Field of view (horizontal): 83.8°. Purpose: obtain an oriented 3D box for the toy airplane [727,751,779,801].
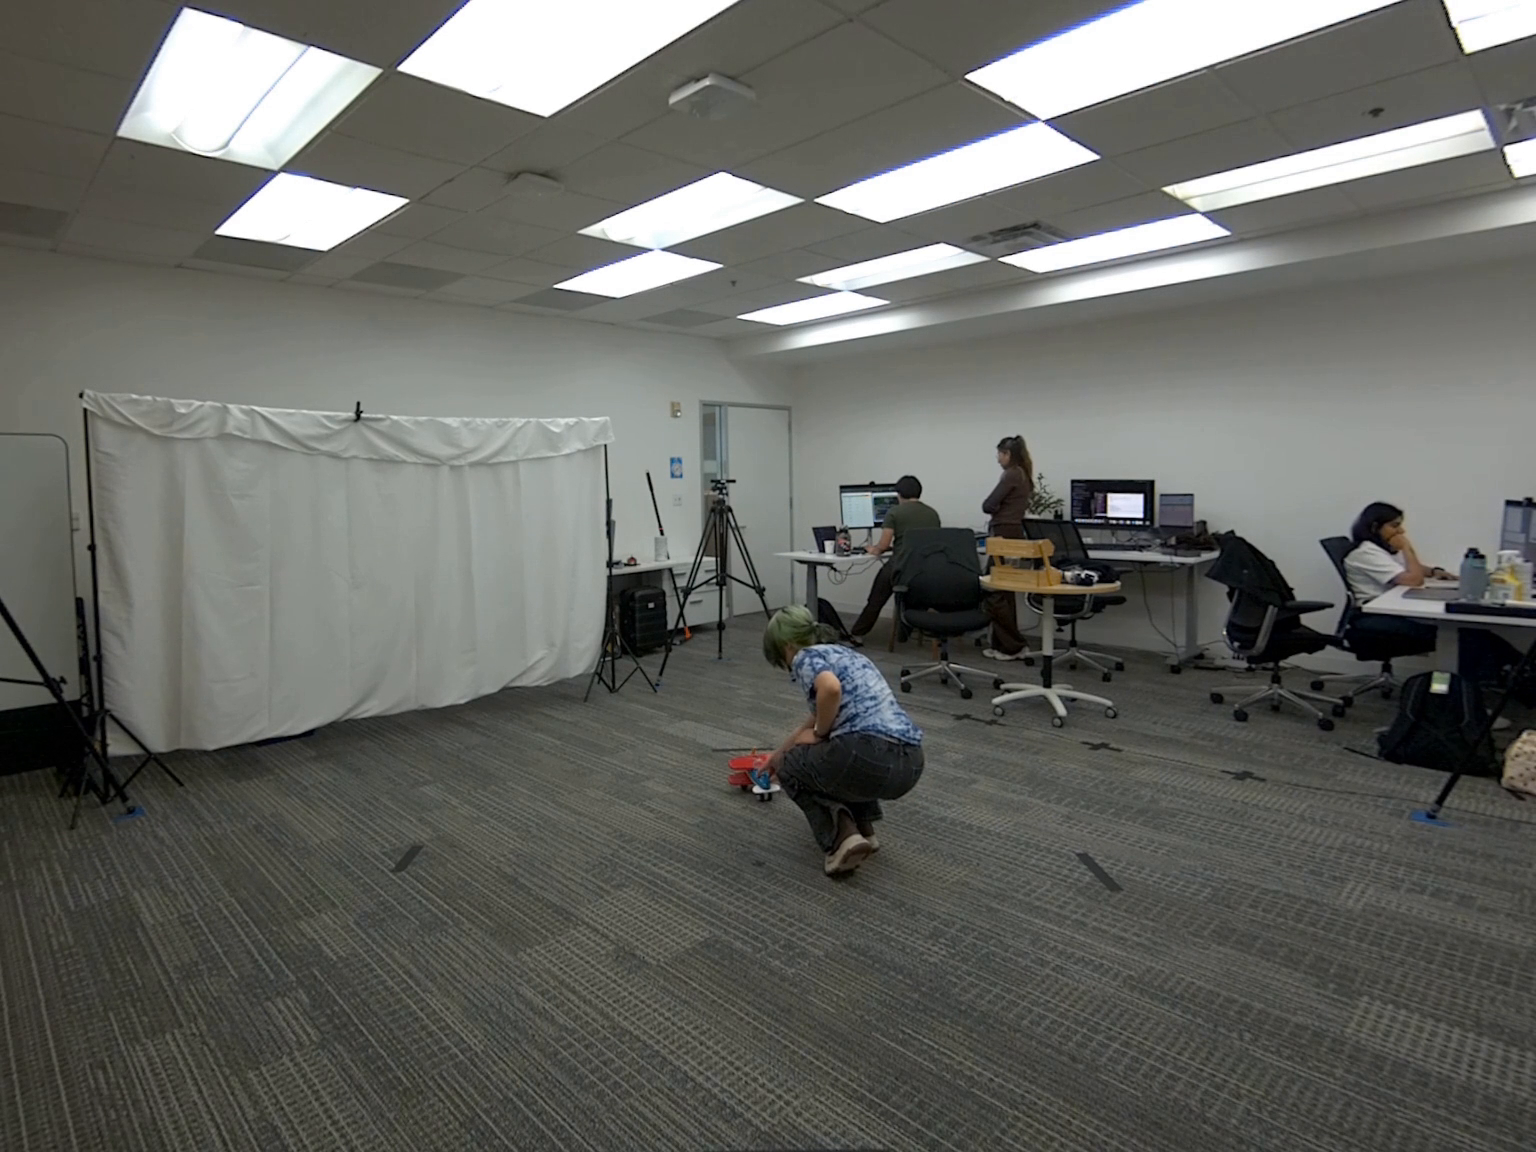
[{"bbox_3d":[-0.032,0.897,3.807,0.244,0.156,0.267,-3,5,-43],"label":"toy airplane"}]
